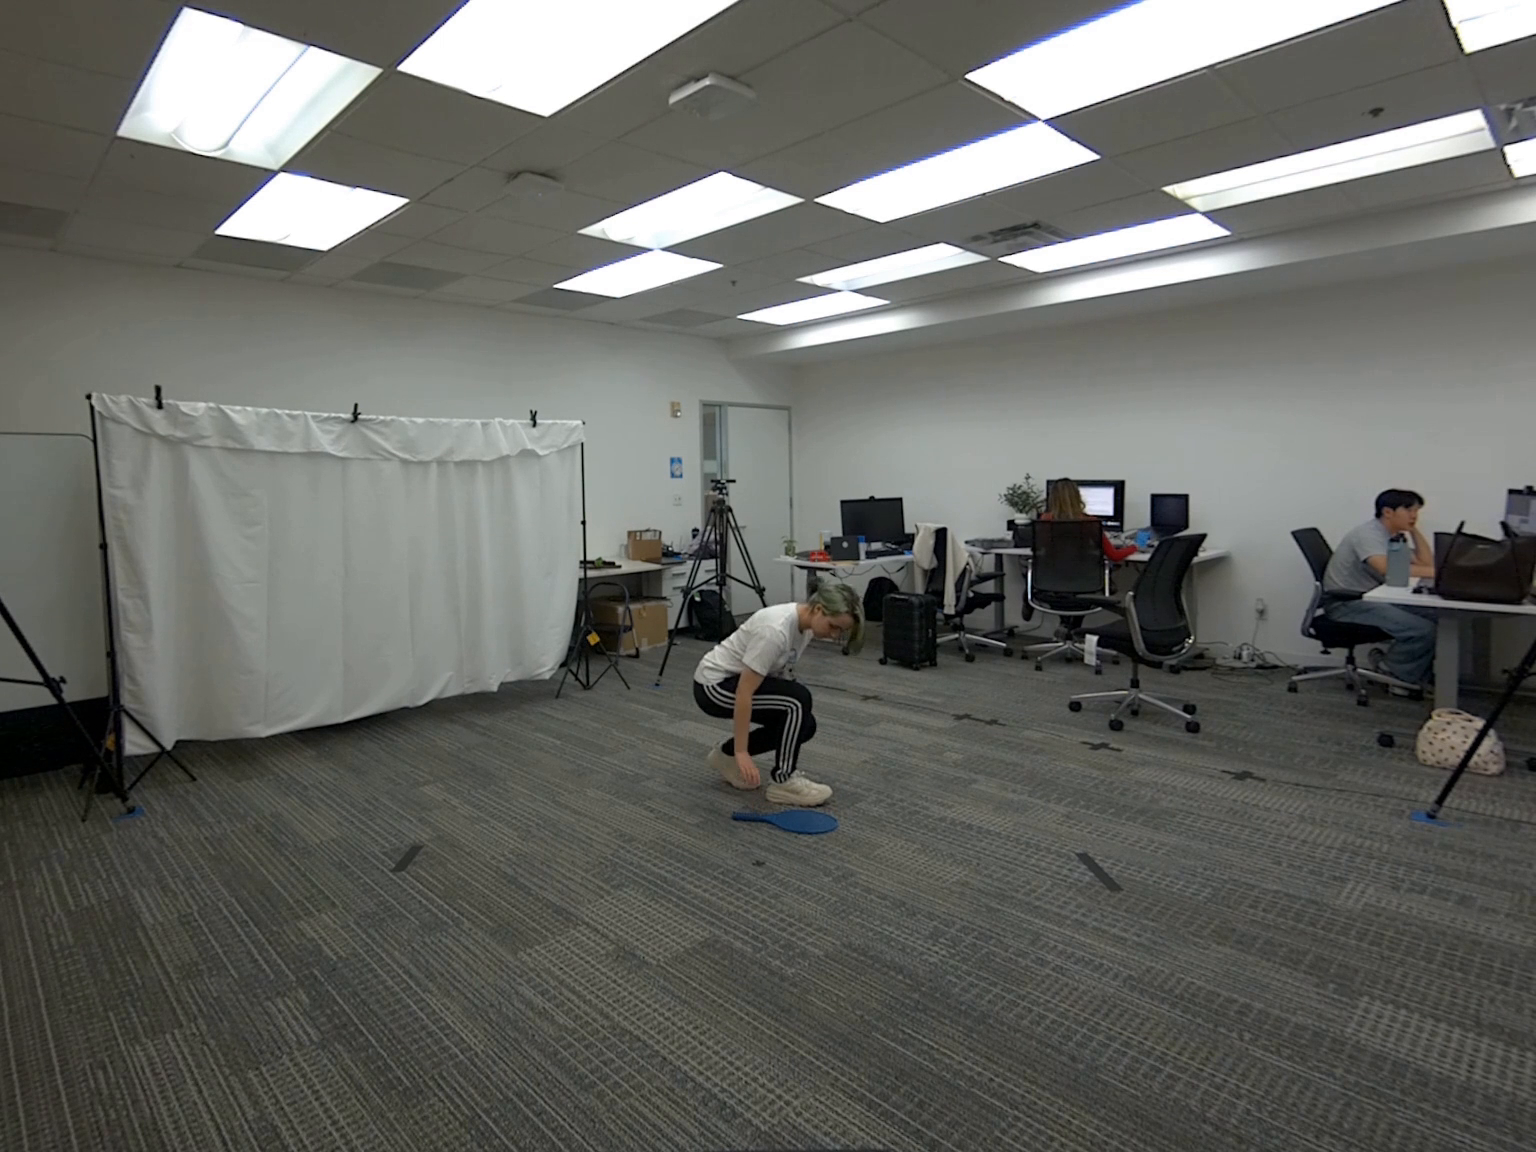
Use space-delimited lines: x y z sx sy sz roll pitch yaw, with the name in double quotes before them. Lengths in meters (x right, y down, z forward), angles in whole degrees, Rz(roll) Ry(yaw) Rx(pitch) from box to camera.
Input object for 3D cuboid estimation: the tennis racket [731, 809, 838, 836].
"tennis racket" 0.063 0.993 3.480 0.437 0.031 0.213 1 7 9
